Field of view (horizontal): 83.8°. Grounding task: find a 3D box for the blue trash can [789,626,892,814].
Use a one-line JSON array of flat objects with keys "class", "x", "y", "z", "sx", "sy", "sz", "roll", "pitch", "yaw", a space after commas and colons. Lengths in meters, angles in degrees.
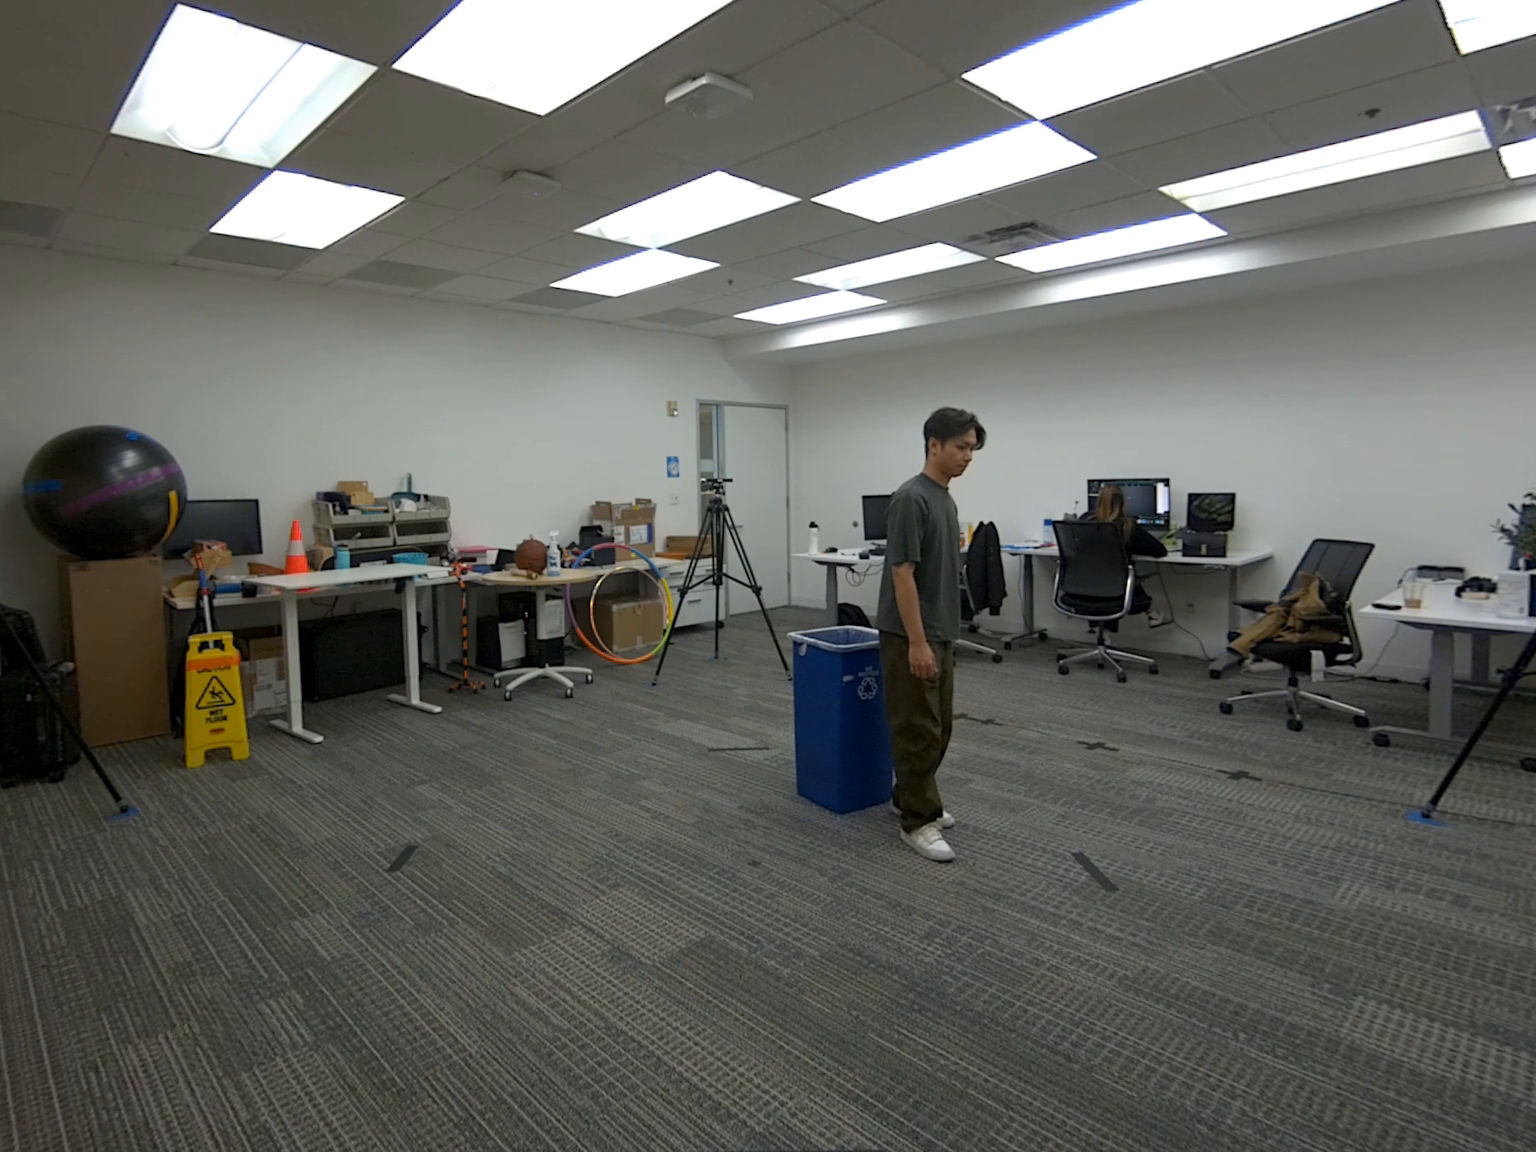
[{"class": "blue trash can", "x": 0.336, "y": 0.609, "z": 3.720, "sx": 0.365, "sy": 0.710, "sz": 0.389, "roll": -4, "pitch": 6, "yaw": -34}]
